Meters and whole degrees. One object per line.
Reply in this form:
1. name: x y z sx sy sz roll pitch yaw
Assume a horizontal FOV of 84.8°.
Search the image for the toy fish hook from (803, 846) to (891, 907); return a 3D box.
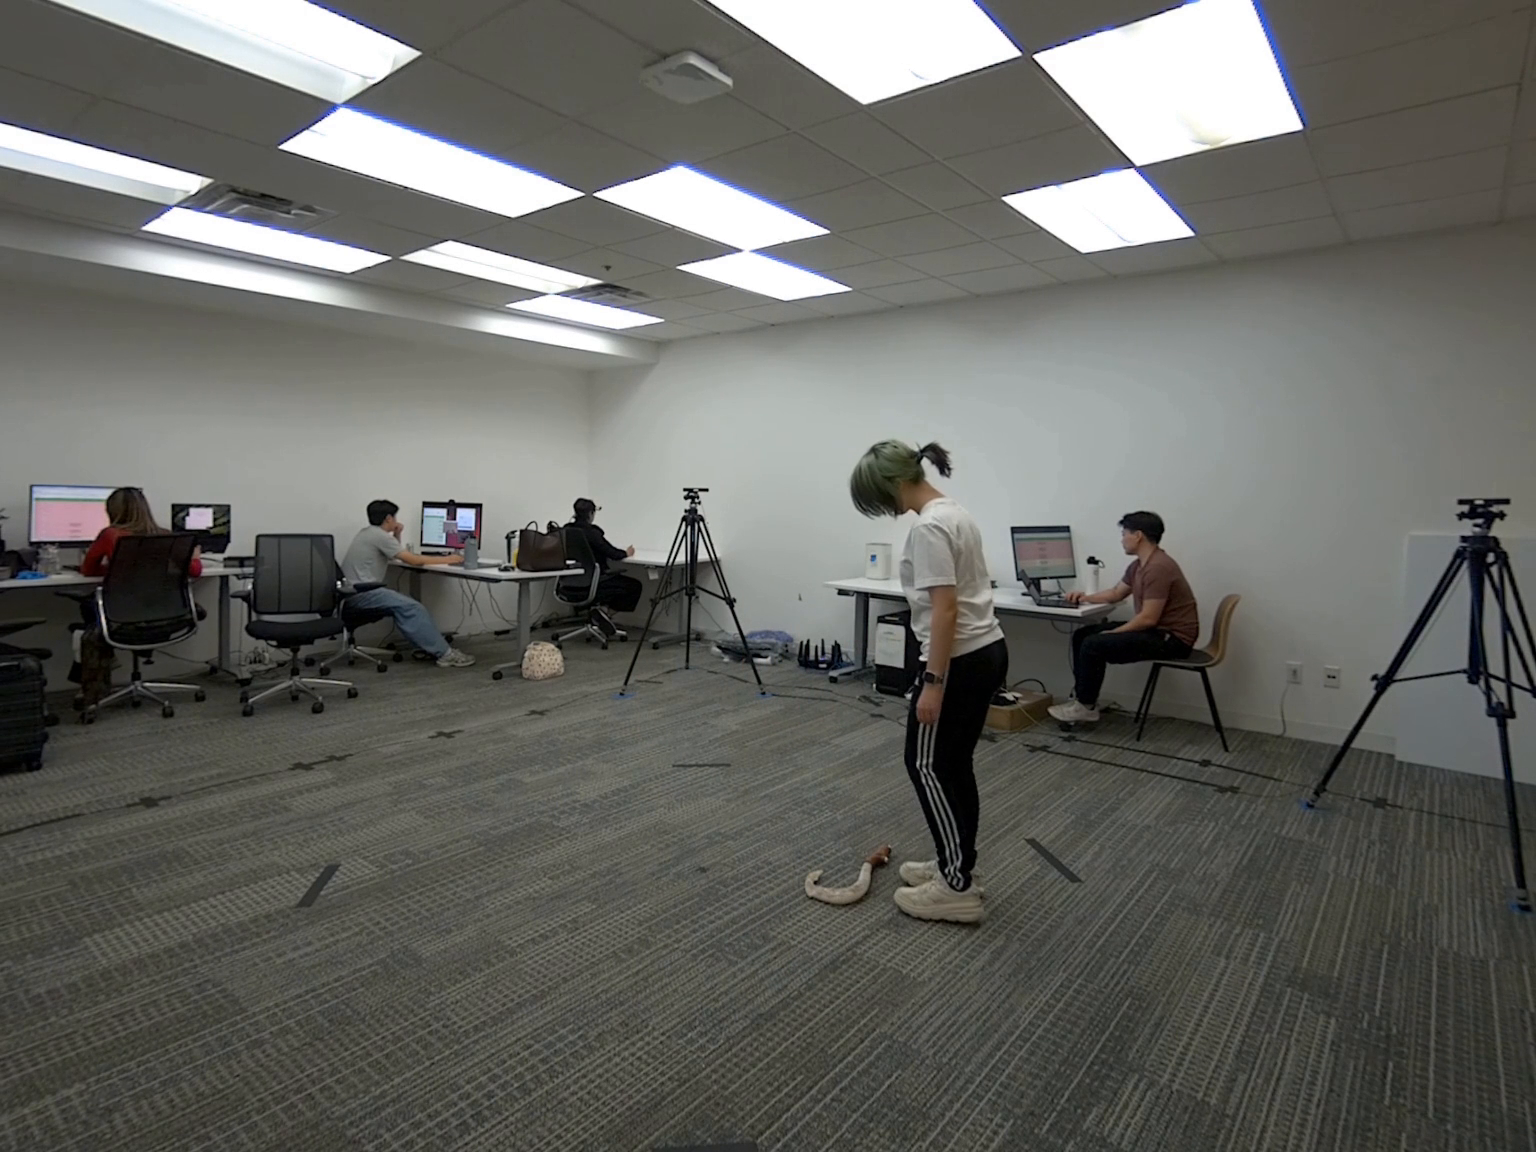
1. toy fish hook: 0.292 1.062 3.083 0.231 0.048 0.494 6 7 29
